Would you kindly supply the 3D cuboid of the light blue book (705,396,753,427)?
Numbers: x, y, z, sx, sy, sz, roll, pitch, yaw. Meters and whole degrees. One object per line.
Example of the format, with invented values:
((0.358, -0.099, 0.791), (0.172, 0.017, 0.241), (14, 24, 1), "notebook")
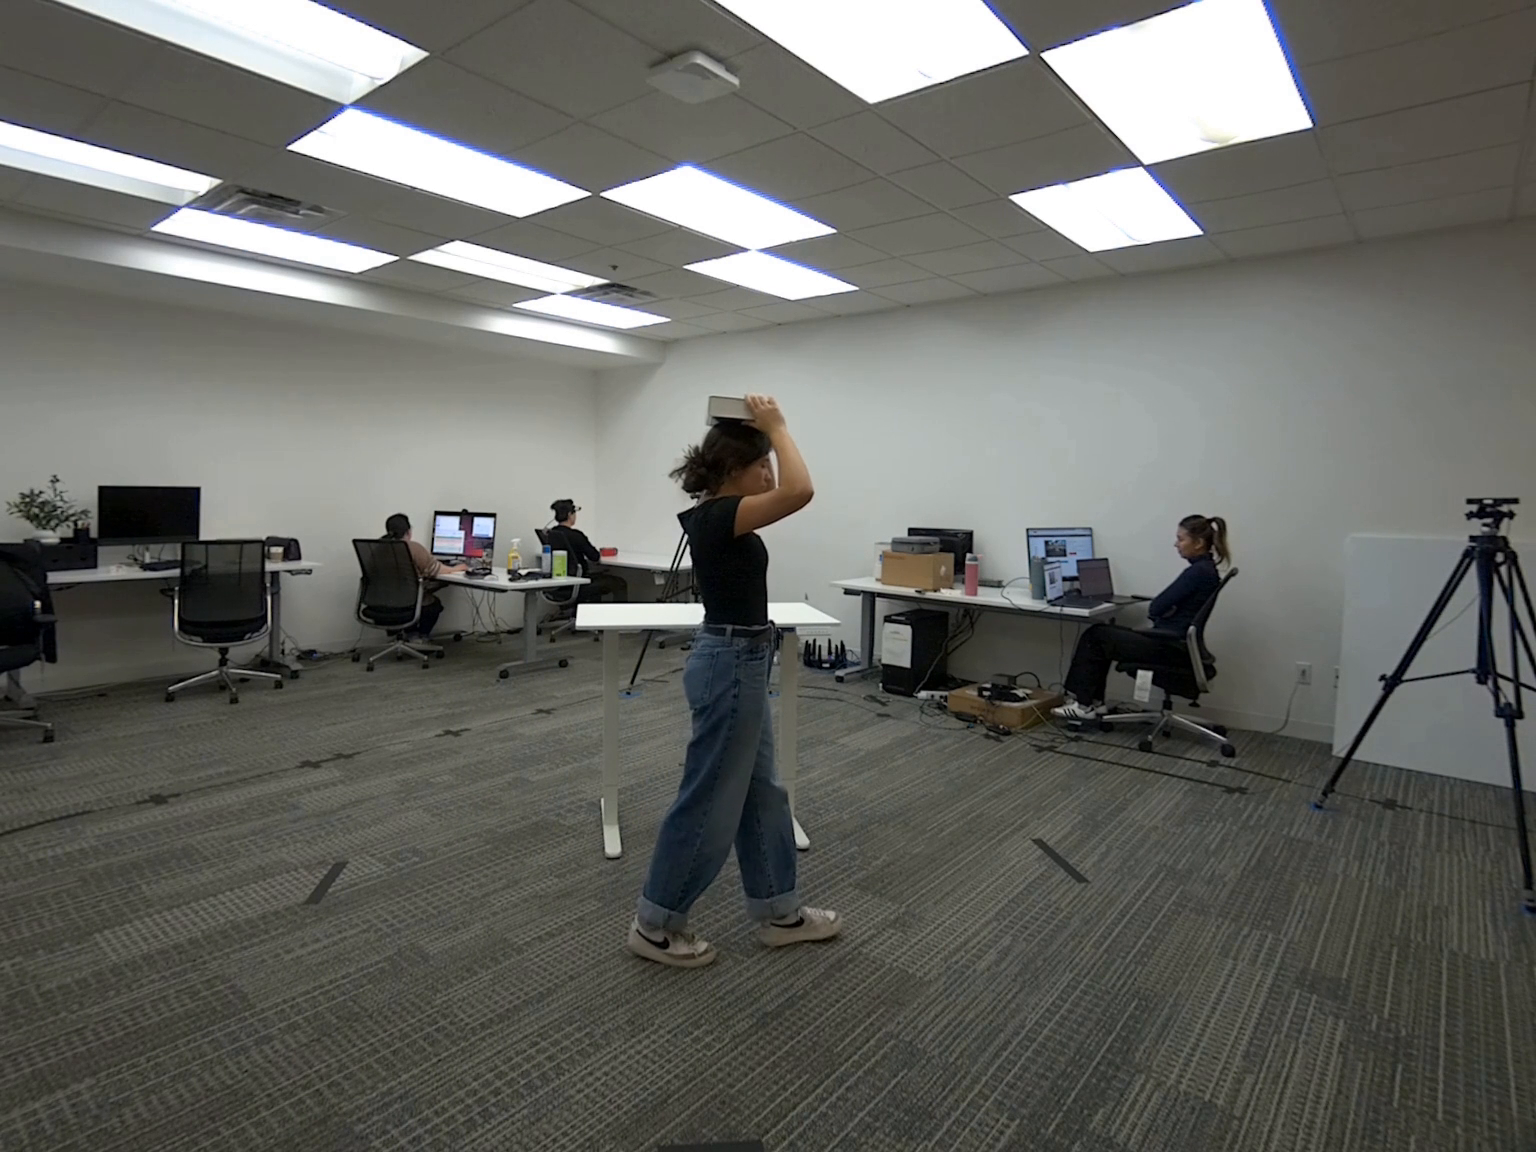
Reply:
((-0.087, -0.483, 2.499), (0.190, 0.059, 0.263), (5, 3, -7), "light blue book")
